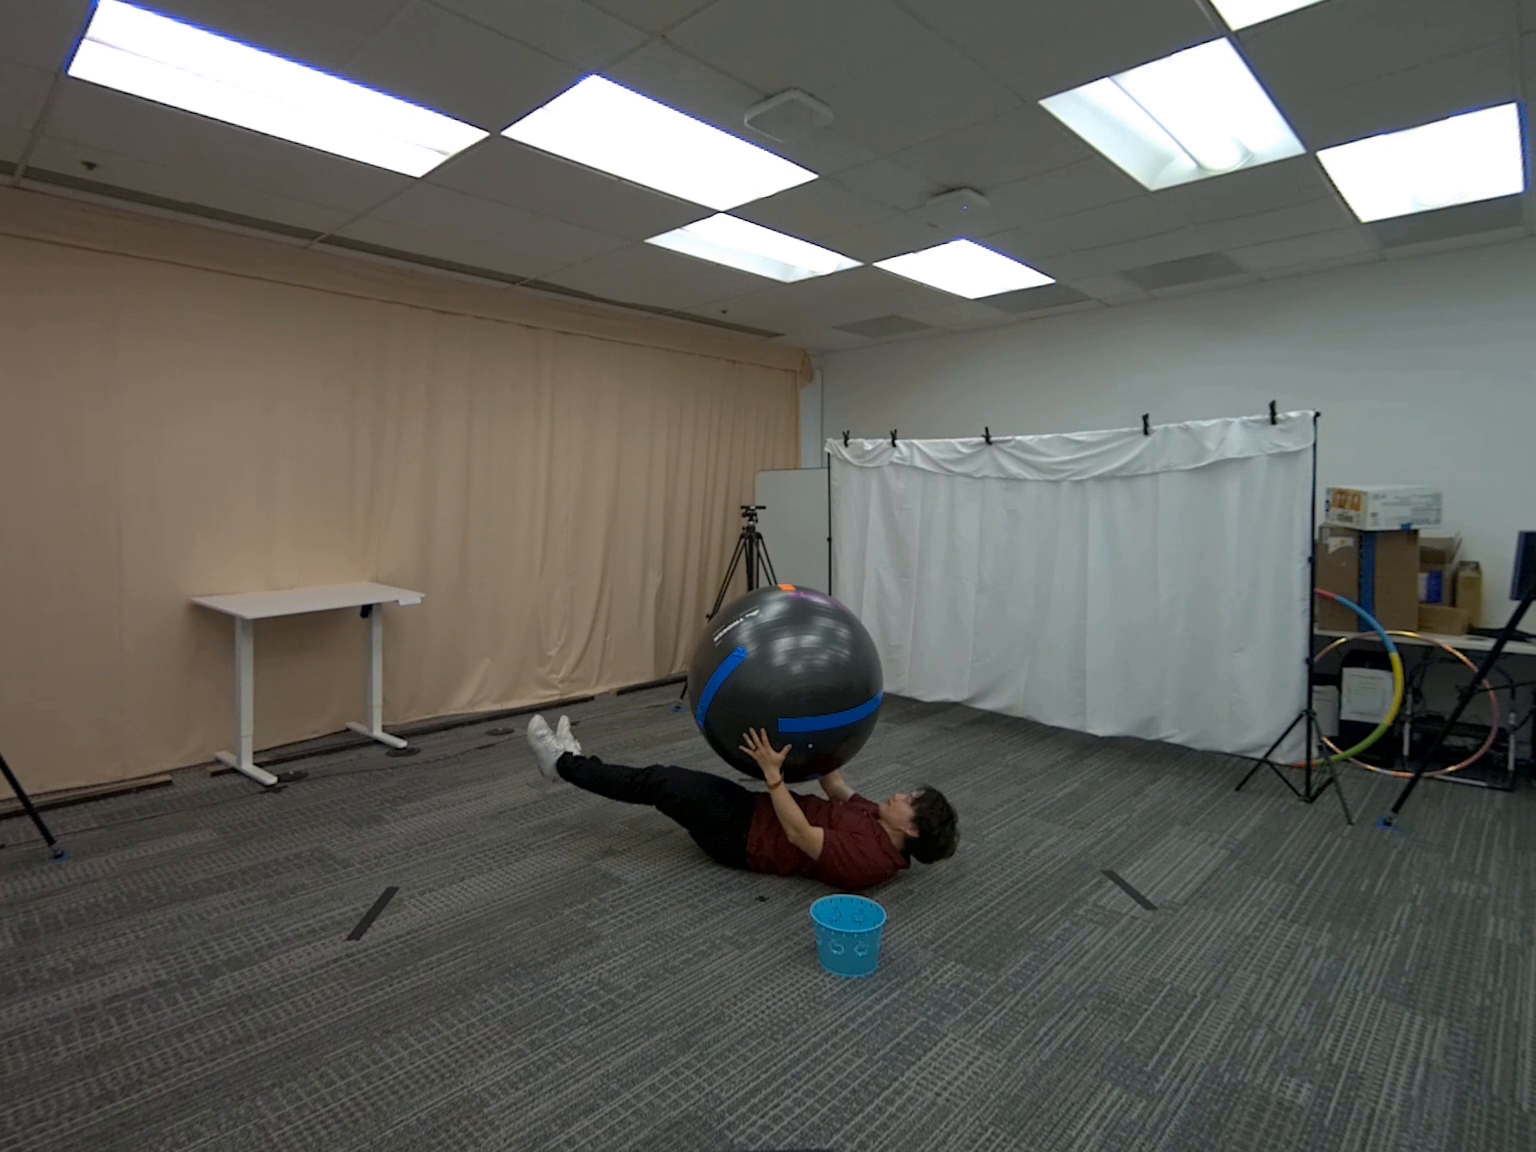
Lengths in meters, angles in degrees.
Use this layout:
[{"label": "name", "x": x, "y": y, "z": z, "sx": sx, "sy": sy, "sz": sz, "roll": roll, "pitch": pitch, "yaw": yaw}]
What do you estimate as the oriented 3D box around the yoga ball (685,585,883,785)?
[{"label": "yoga ball", "x": 0.064, "y": 0.415, "z": 3.287, "sx": 0.757, "sy": 0.756, "sz": 0.760, "roll": 0, "pitch": 4, "yaw": -2}]
